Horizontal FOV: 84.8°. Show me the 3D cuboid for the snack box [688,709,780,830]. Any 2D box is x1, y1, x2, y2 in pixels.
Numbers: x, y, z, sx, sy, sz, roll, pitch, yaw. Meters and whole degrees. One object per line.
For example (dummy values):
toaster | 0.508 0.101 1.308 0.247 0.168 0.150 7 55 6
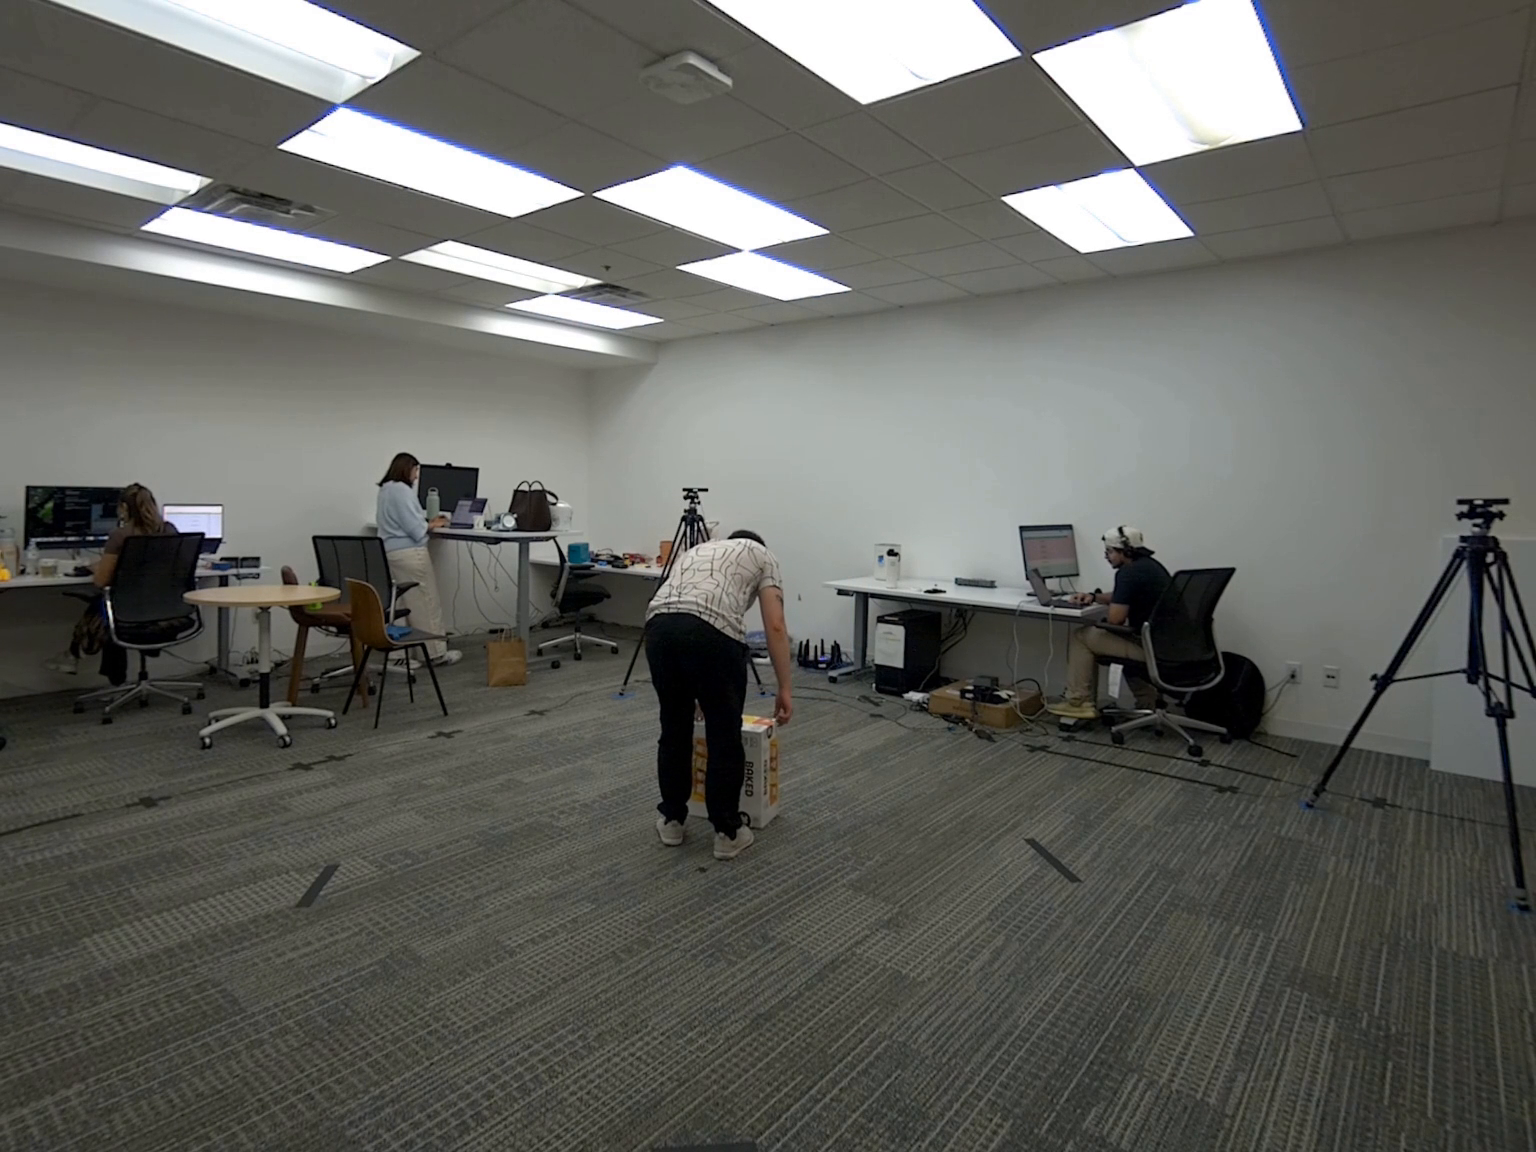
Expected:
snack box | -0.157 0.812 3.638 0.349 0.404 0.201 1 3 25
